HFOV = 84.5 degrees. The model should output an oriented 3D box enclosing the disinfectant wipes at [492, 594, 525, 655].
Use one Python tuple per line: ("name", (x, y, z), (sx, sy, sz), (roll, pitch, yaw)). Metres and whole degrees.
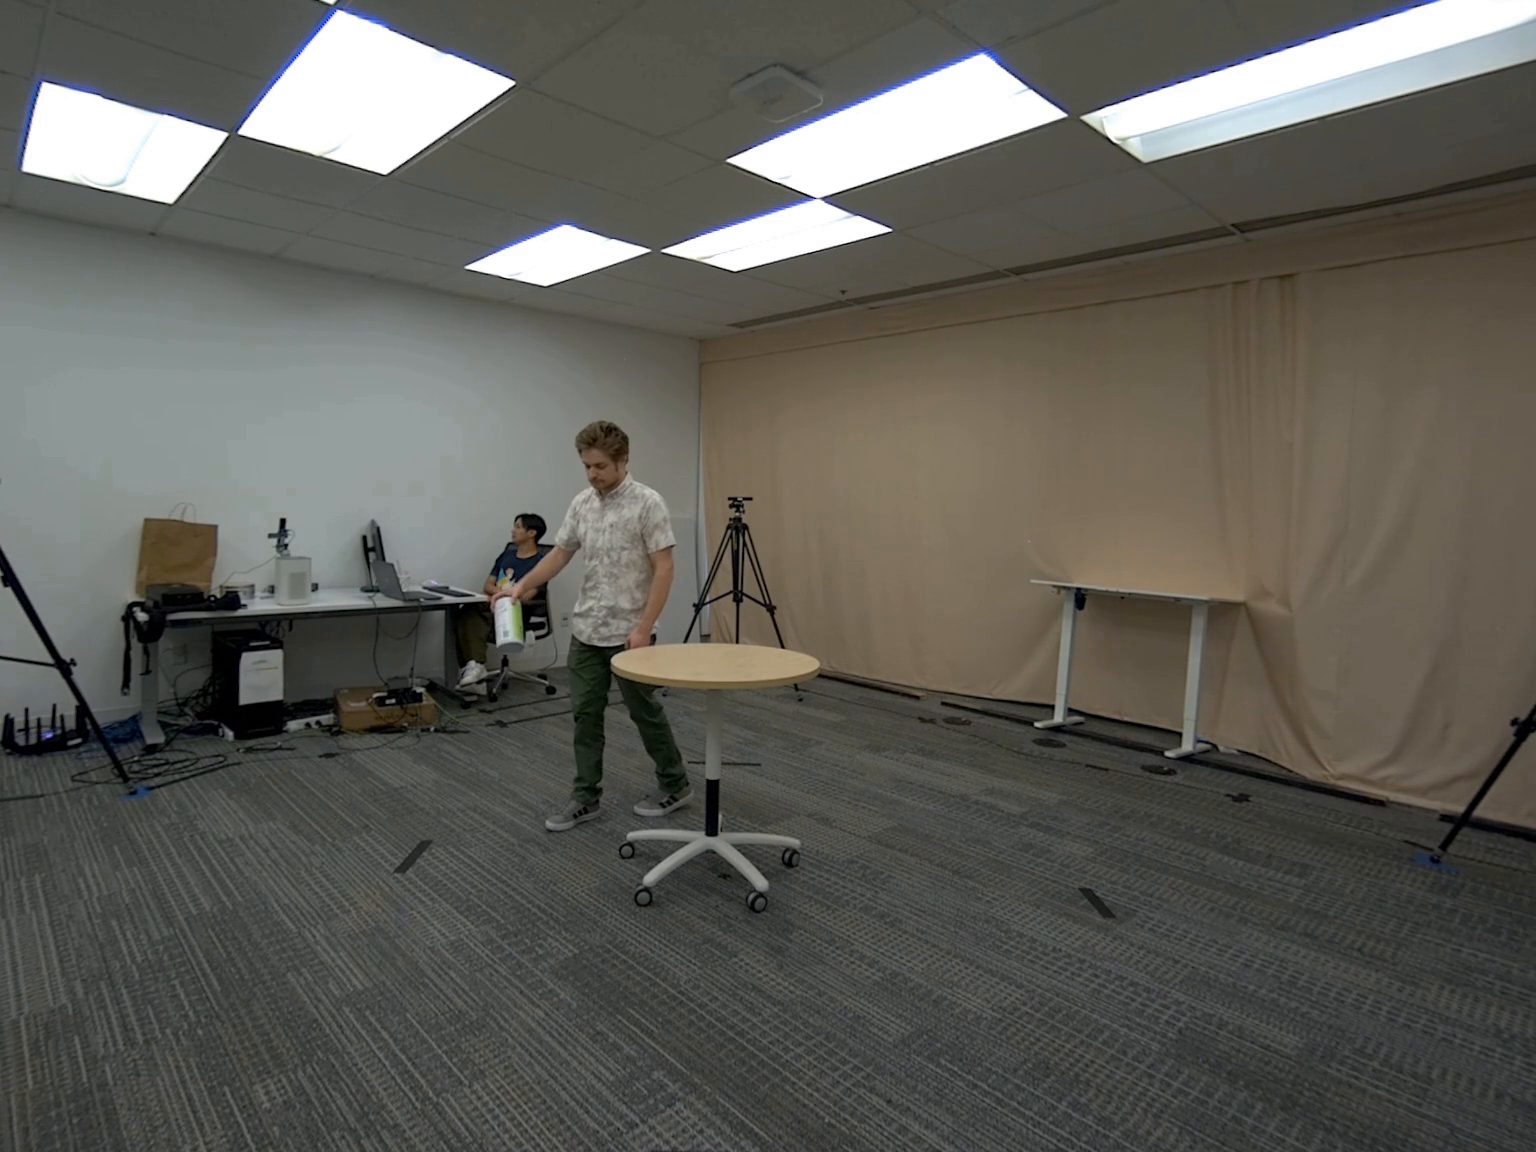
("disinfectant wipes", (-1.065, 0.200, 3.421), (0.117, 0.222, 0.115), (-7, -32, -6))
